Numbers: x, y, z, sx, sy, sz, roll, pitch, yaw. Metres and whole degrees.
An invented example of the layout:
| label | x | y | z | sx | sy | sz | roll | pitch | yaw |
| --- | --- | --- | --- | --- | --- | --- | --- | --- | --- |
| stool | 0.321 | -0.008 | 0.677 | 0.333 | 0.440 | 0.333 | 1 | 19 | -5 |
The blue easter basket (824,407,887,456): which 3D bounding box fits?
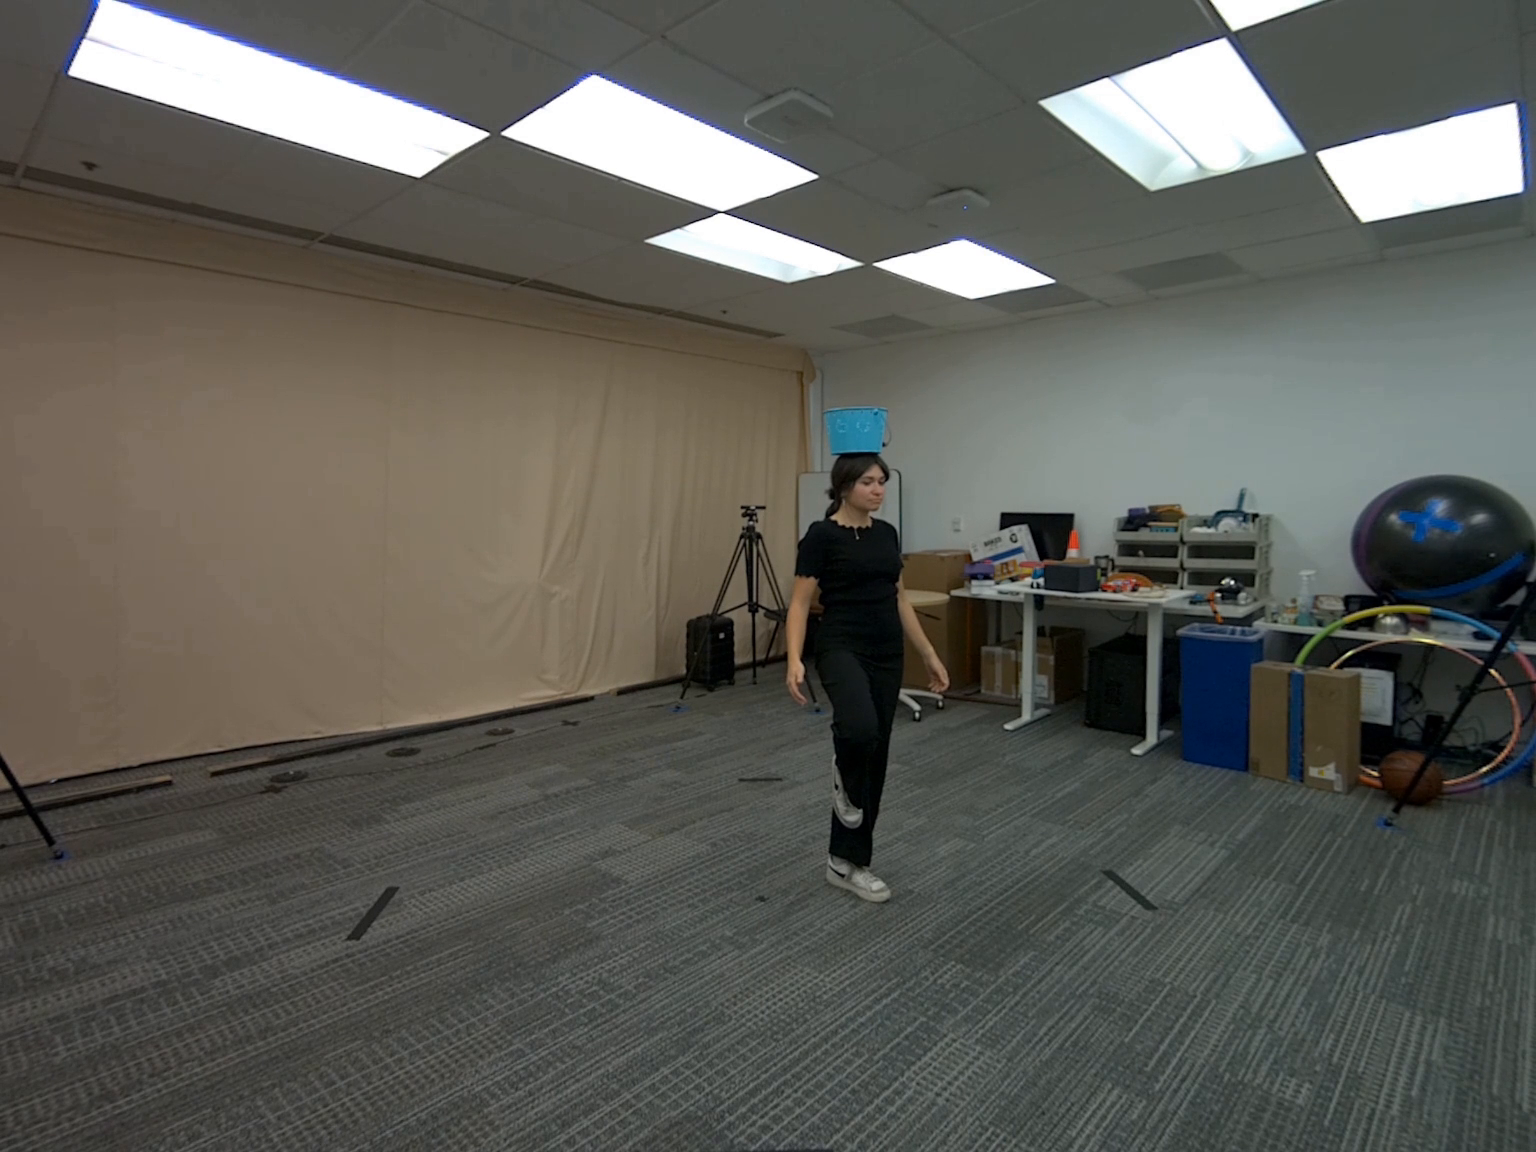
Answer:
| label | x | y | z | sx | sy | sz | roll | pitch | yaw |
| --- | --- | --- | --- | --- | --- | --- | --- | --- | --- |
| blue easter basket | 0.326 | -0.519 | 3.029 | 0.243 | 0.155 | 0.244 | -1 | 4 | -2 |
